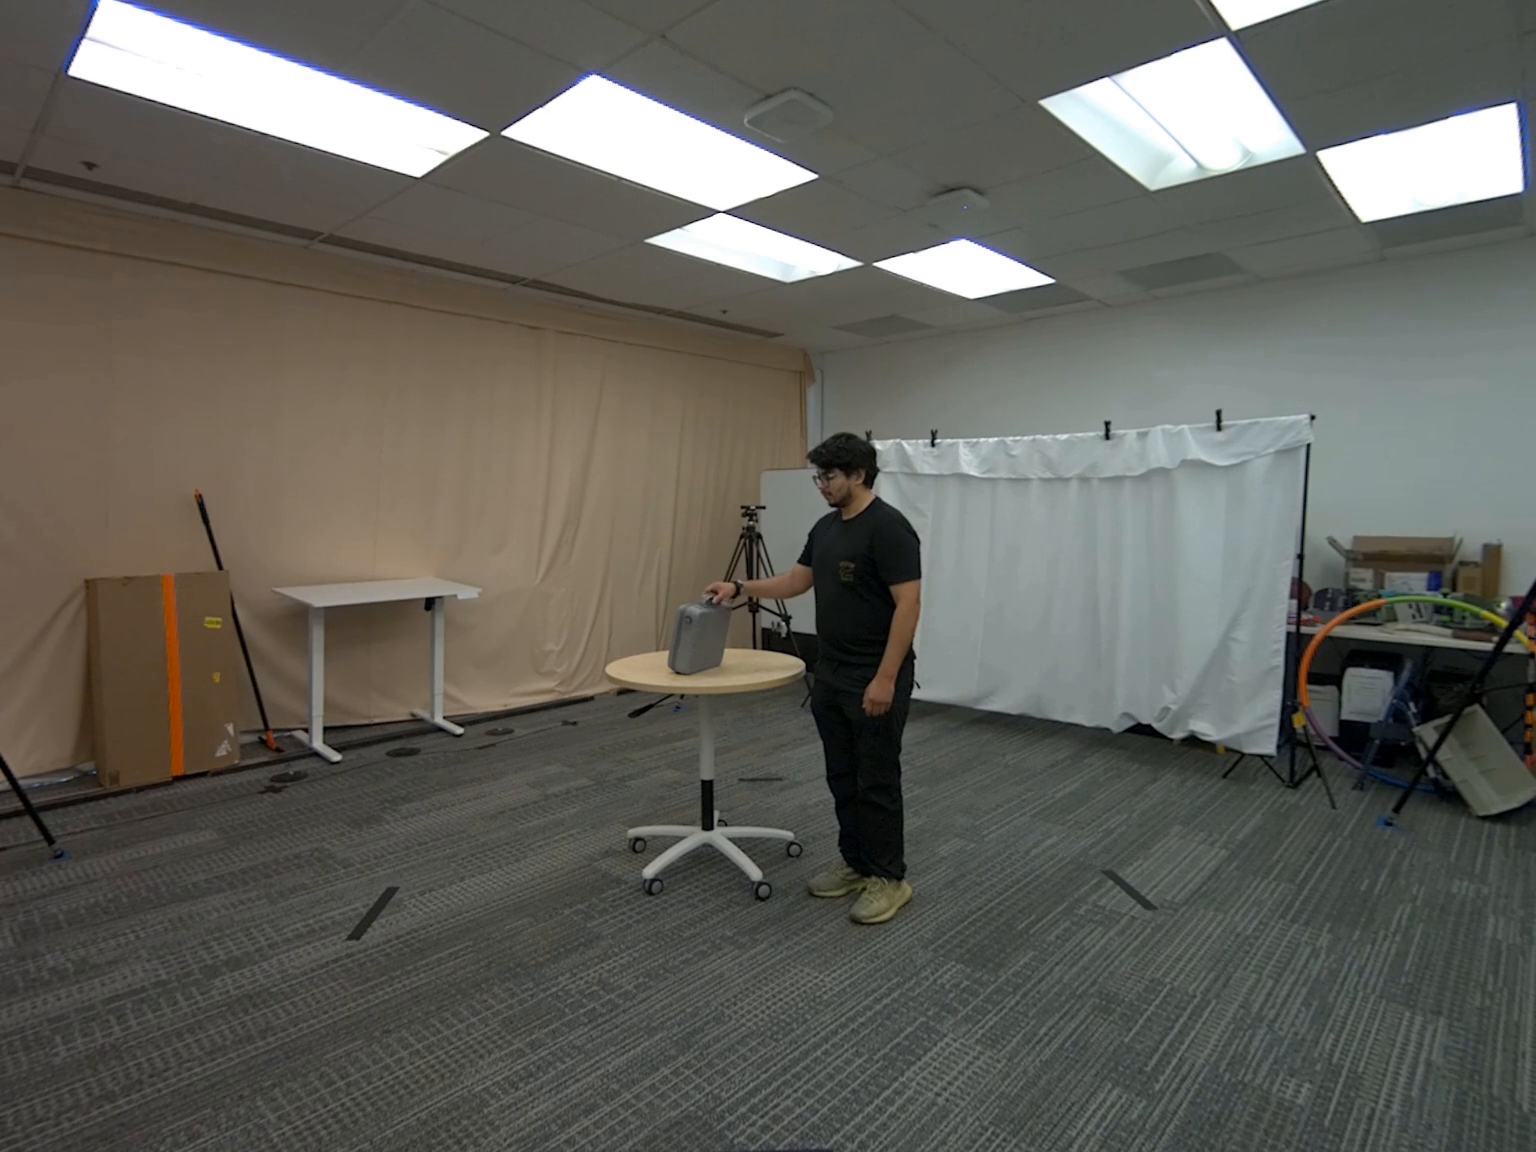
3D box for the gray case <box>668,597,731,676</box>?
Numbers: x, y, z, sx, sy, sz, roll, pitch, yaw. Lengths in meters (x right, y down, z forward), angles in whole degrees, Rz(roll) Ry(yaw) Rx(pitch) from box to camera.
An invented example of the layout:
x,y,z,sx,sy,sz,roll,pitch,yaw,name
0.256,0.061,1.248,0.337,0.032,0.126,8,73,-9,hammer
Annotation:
x,y,z,sx,sy,sz,roll,pitch,yaw,name
-0.247,0.224,3.142,0.107,0.259,0.250,16,12,27,gray case
